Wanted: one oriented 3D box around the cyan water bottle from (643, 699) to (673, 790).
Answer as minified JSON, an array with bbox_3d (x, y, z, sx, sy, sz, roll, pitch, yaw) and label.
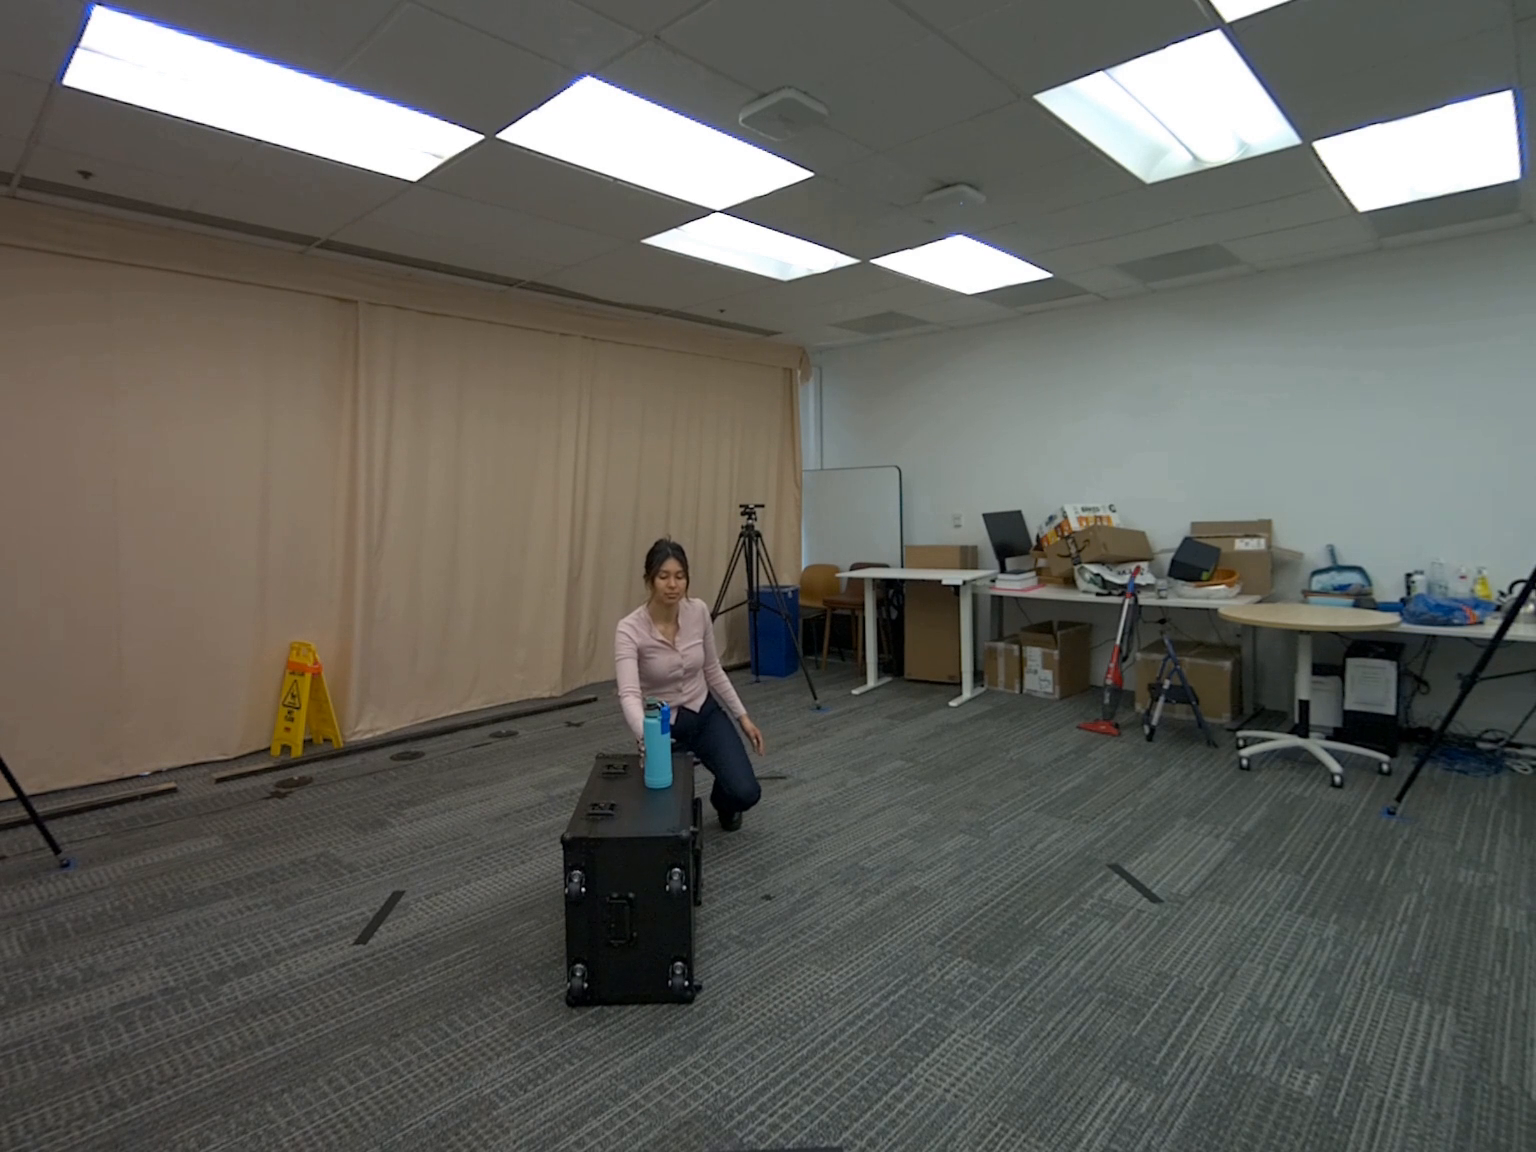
[{"bbox_3d":[-0.365,0.543,2.757,0.092,0.282,0.093,-2,4,-2],"label":"cyan water bottle"}]
